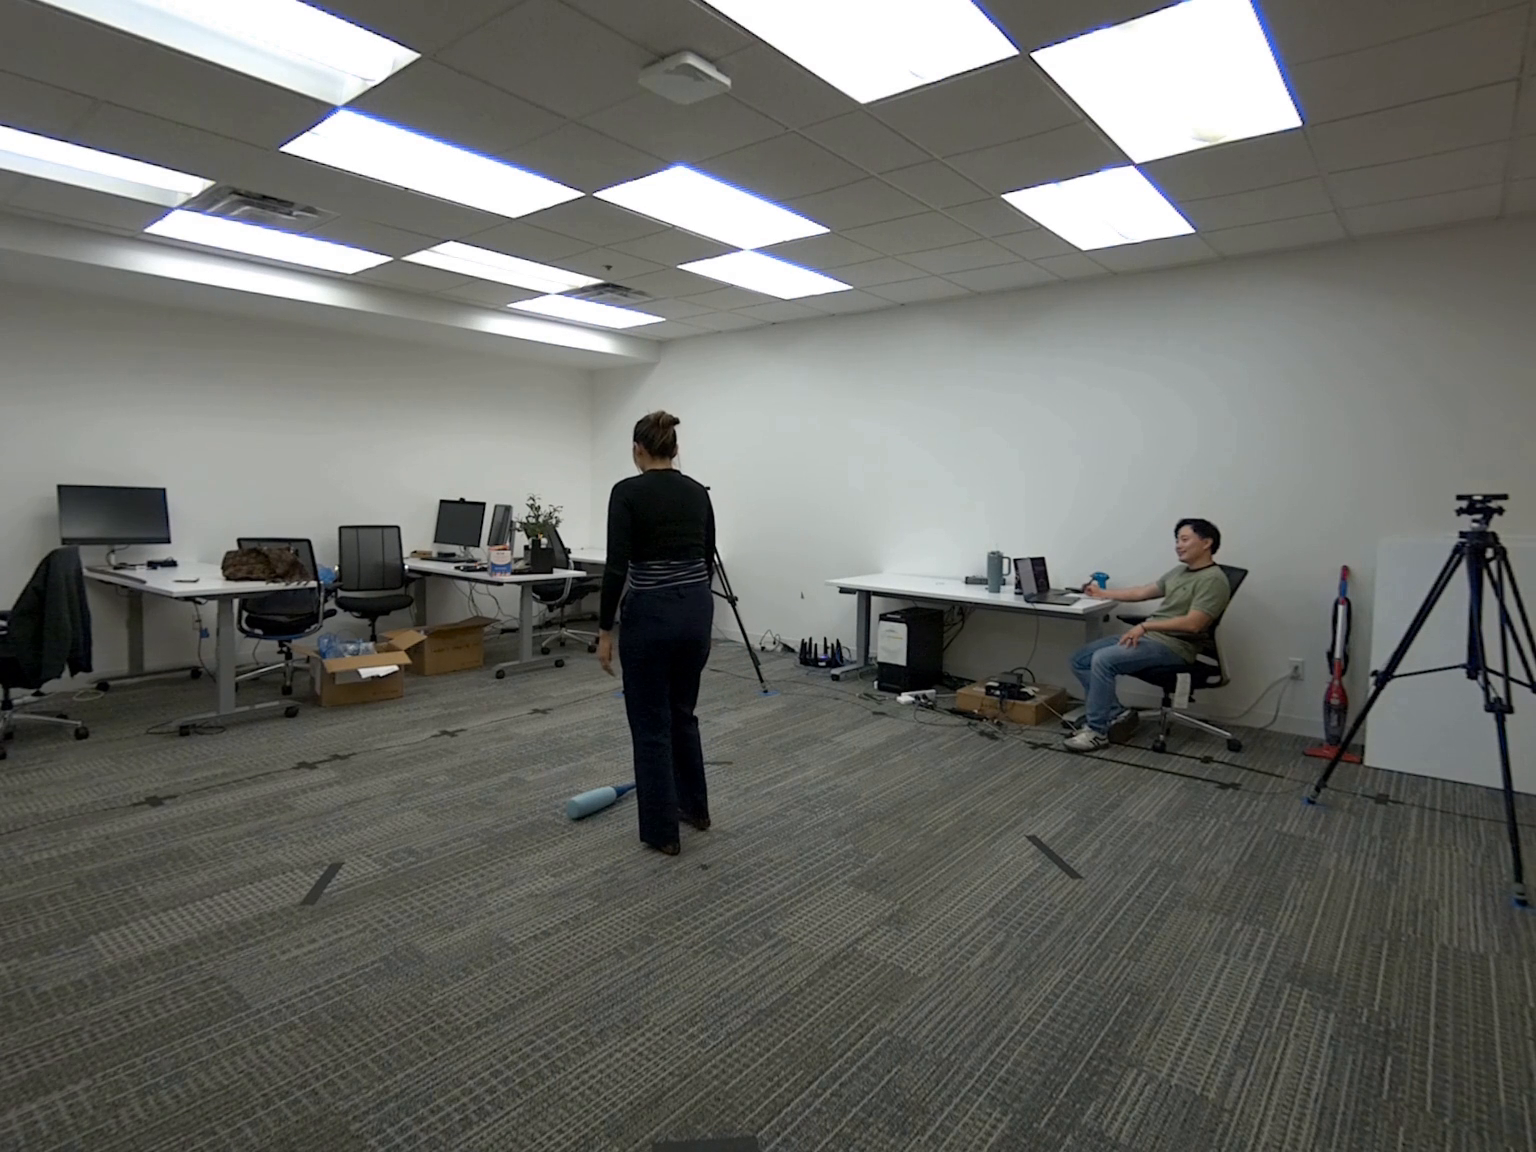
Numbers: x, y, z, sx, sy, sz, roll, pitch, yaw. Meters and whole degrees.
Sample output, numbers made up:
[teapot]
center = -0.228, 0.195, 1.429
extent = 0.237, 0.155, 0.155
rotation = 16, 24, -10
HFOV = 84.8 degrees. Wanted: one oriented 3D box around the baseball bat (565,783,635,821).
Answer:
[baseball bat]
center = -0.698, 0.958, 3.759
extent = 0.092, 0.089, 0.528
rotation = 3, 4, 31
